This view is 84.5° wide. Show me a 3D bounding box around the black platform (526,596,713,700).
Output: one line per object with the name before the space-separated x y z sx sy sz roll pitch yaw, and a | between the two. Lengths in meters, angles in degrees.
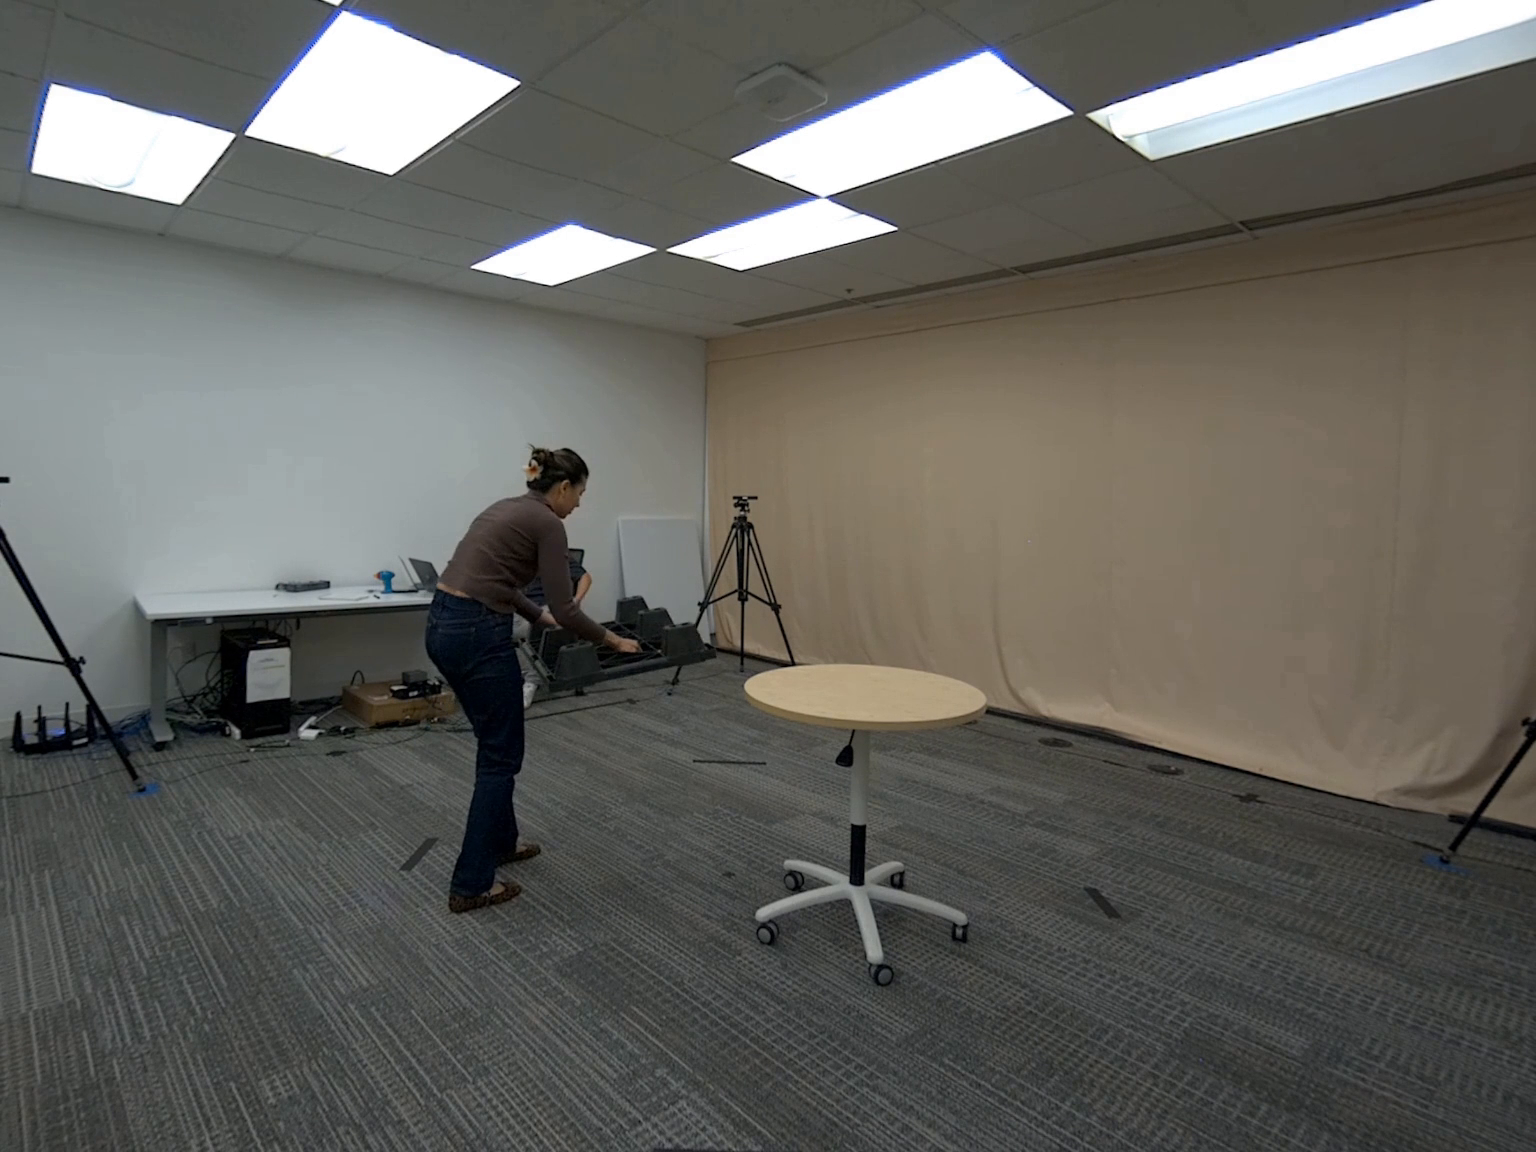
black platform | -0.629 0.238 3.251 0.597 0.142 0.822 -11 11 -22
